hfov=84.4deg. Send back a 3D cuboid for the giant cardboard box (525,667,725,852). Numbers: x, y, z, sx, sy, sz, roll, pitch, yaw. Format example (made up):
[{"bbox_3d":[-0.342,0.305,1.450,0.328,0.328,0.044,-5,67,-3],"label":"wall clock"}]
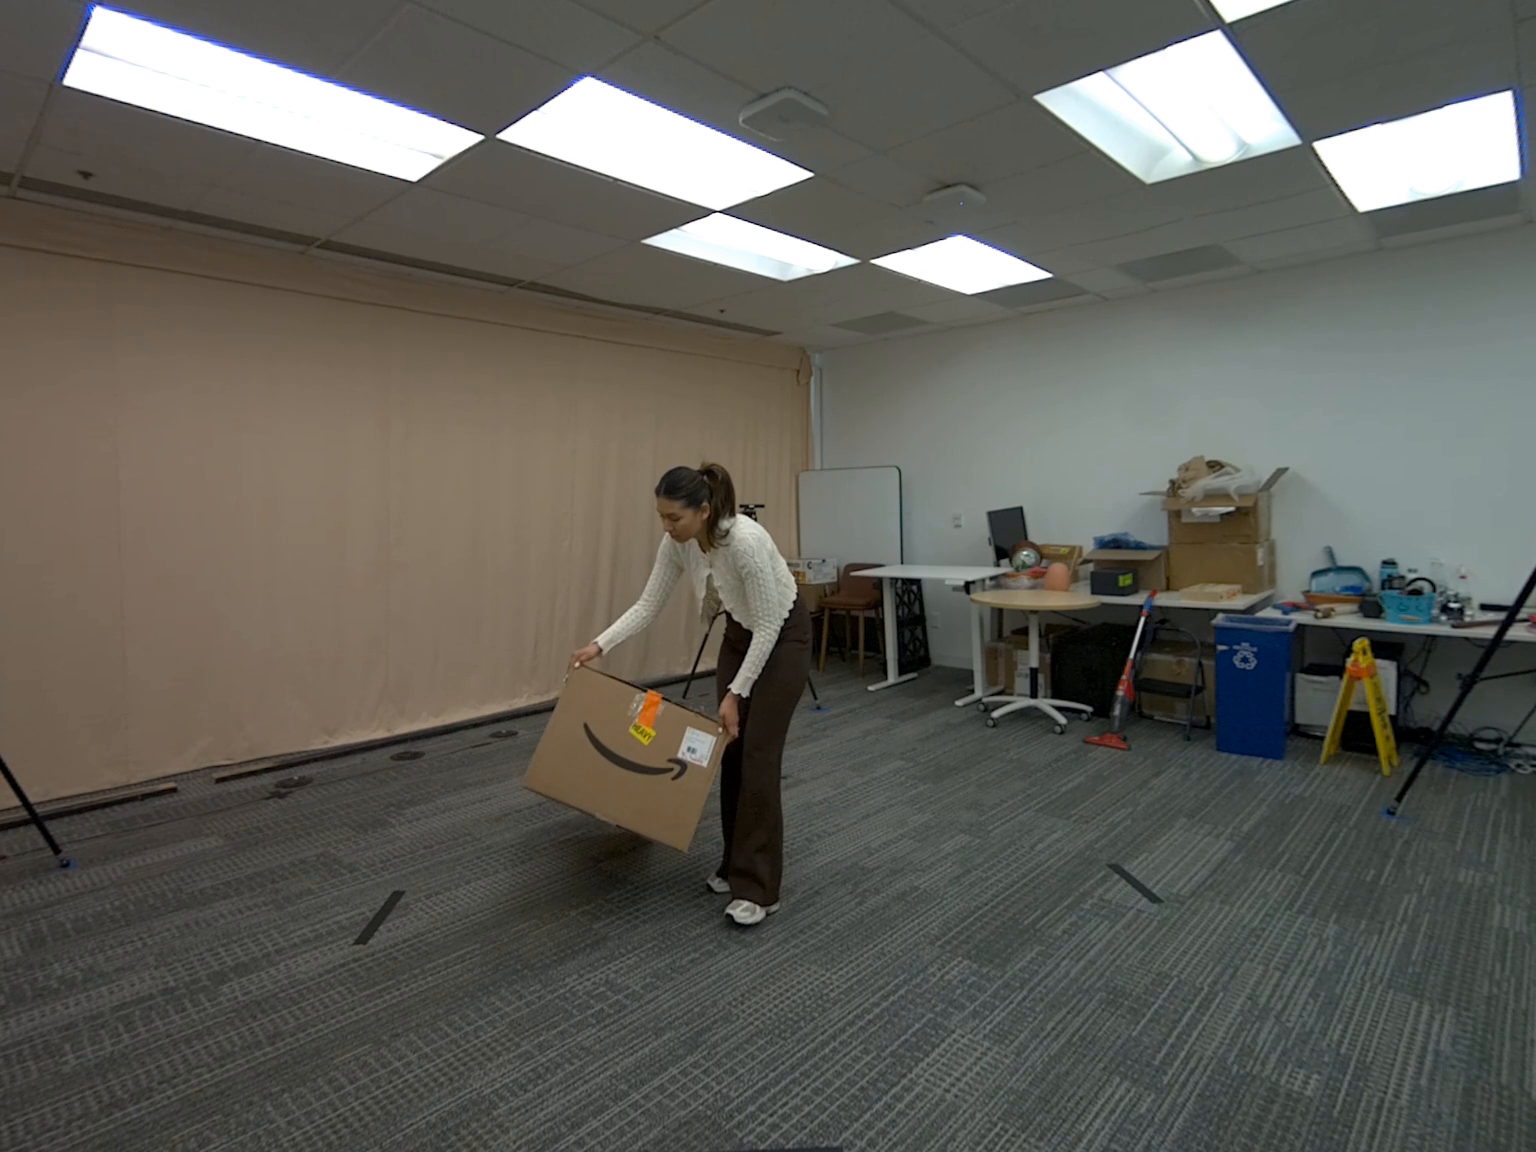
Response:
[{"bbox_3d":[-0.580,0.704,3.222,0.575,0.427,1.028,23,-15,-5],"label":"giant cardboard box"}]
